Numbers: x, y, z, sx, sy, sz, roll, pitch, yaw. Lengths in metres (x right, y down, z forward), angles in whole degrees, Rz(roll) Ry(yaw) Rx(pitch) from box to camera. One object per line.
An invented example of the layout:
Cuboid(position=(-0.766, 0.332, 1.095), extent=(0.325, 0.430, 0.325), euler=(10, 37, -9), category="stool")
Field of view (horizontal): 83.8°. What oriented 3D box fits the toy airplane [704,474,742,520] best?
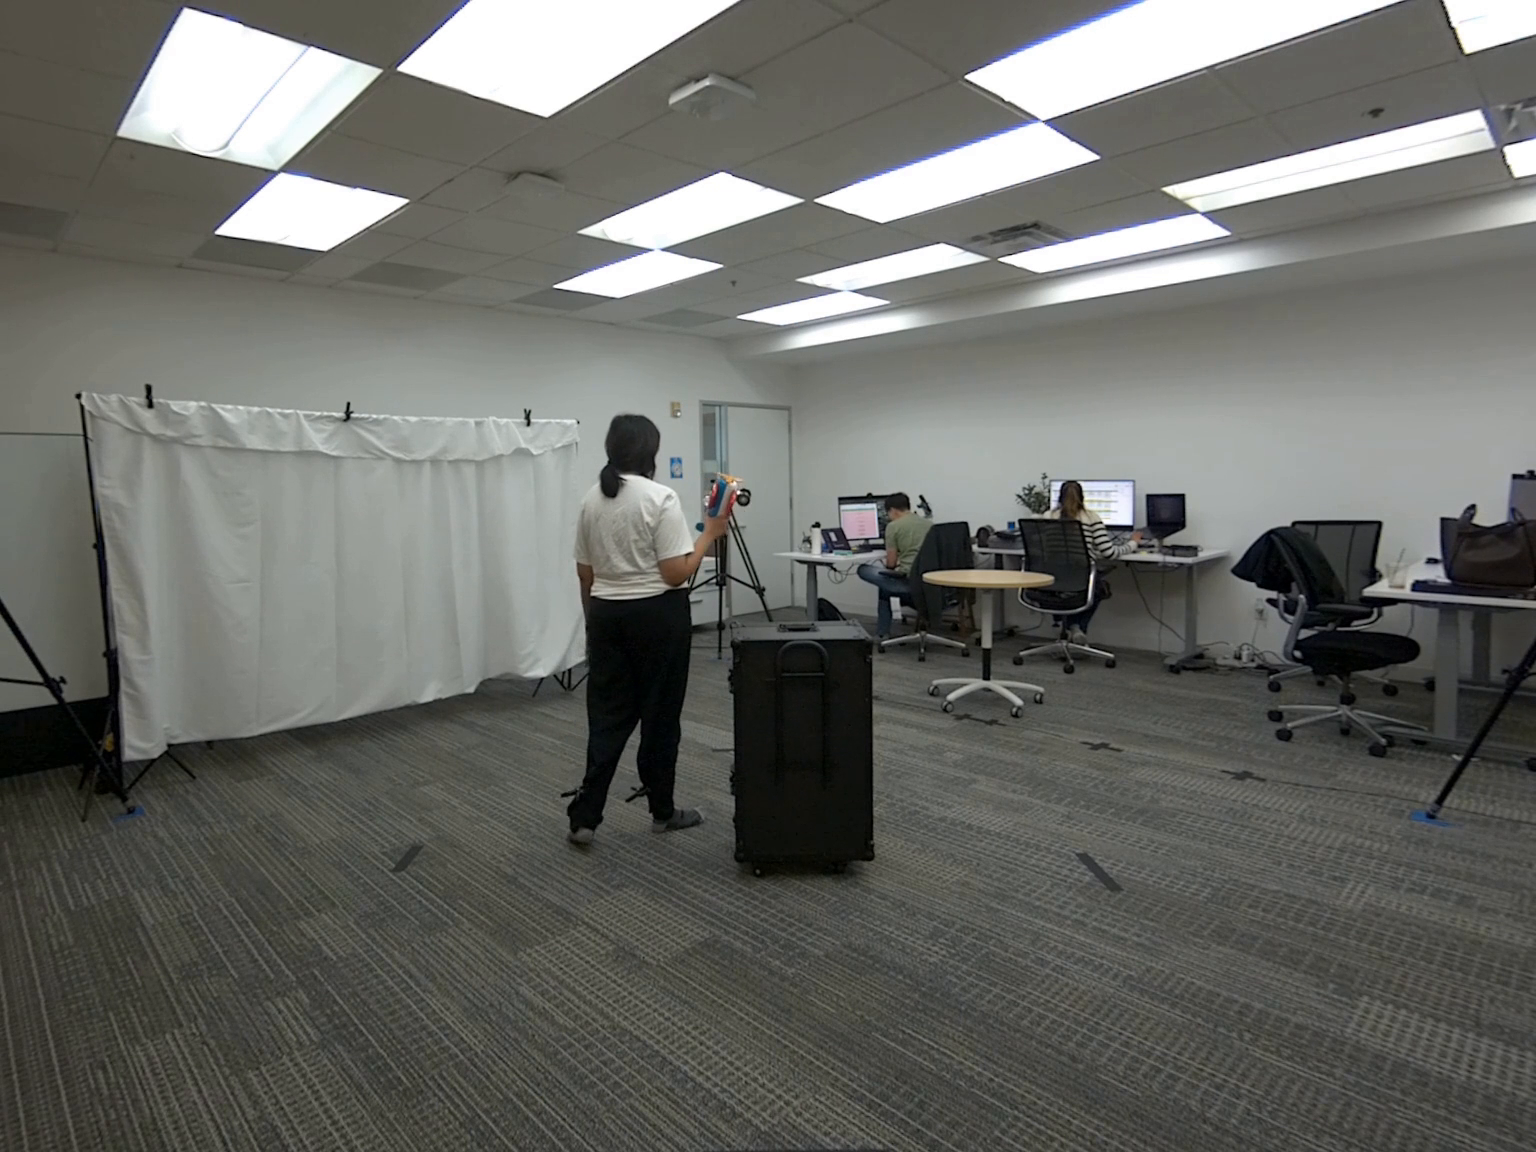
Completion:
Cuboid(position=(-0.185, -0.267, 3.396), extent=(0.155, 0.260, 0.252), euler=(32, -13, -6), category="toy airplane")
